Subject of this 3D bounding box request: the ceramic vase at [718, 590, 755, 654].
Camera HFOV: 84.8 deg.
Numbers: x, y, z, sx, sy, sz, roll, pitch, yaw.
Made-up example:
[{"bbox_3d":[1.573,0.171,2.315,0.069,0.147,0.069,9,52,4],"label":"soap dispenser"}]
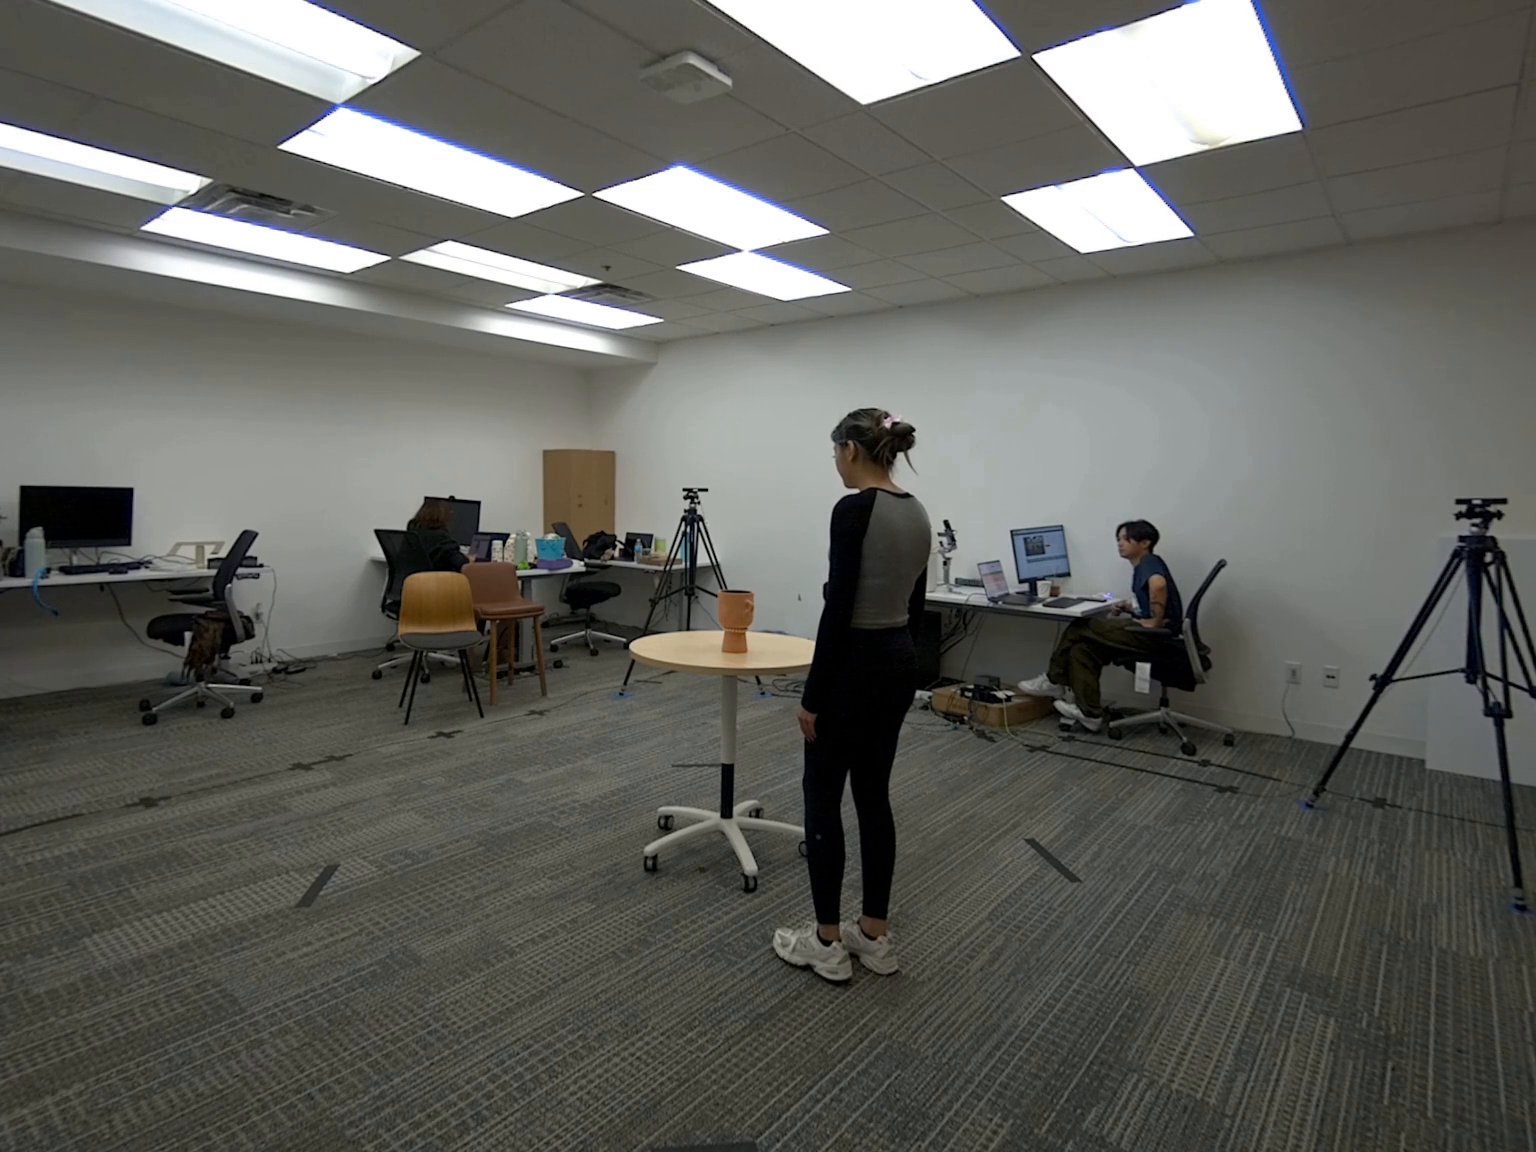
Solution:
[{"bbox_3d":[-0.134,0.165,3.142,0.135,0.219,0.159,0,3,-1],"label":"ceramic vase"}]
